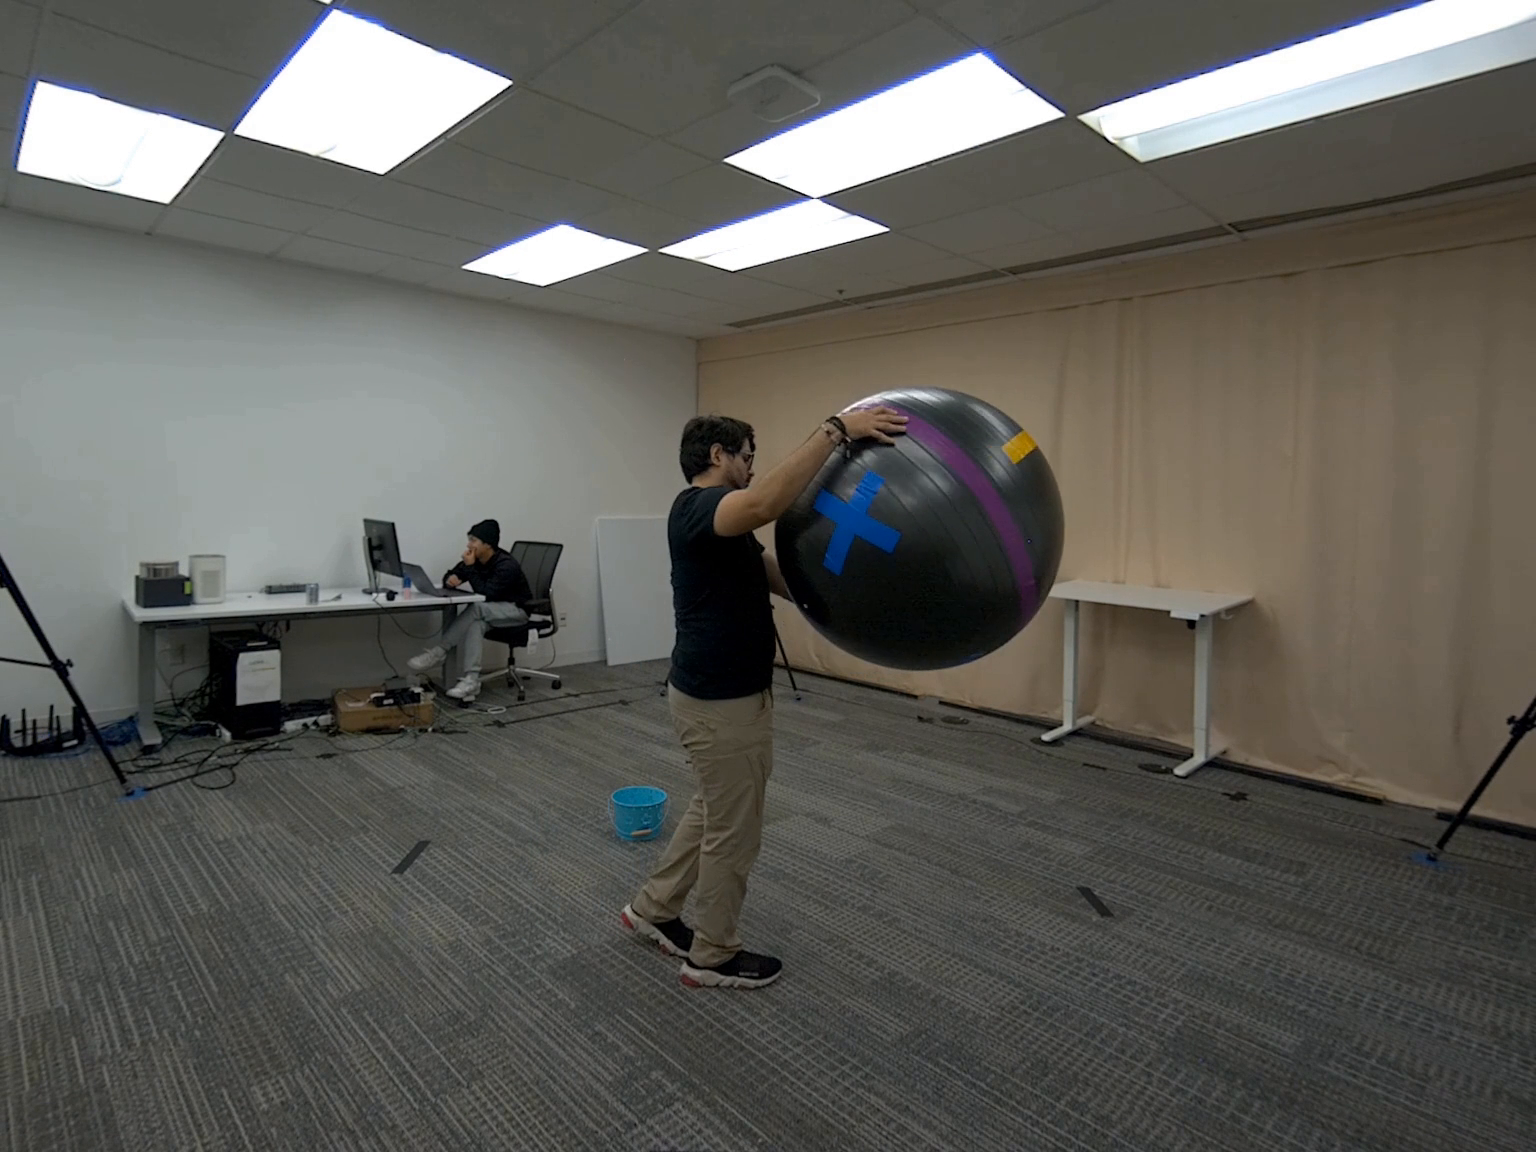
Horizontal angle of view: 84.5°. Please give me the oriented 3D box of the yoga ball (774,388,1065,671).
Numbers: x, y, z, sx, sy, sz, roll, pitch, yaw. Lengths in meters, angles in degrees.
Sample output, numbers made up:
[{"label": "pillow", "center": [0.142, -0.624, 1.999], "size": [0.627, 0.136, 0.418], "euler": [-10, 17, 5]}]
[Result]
[{"label": "yoga ball", "center": [0.399, -0.115, 2.269], "size": [0.757, 0.756, 0.761], "euler": [1, 4, -1]}]
